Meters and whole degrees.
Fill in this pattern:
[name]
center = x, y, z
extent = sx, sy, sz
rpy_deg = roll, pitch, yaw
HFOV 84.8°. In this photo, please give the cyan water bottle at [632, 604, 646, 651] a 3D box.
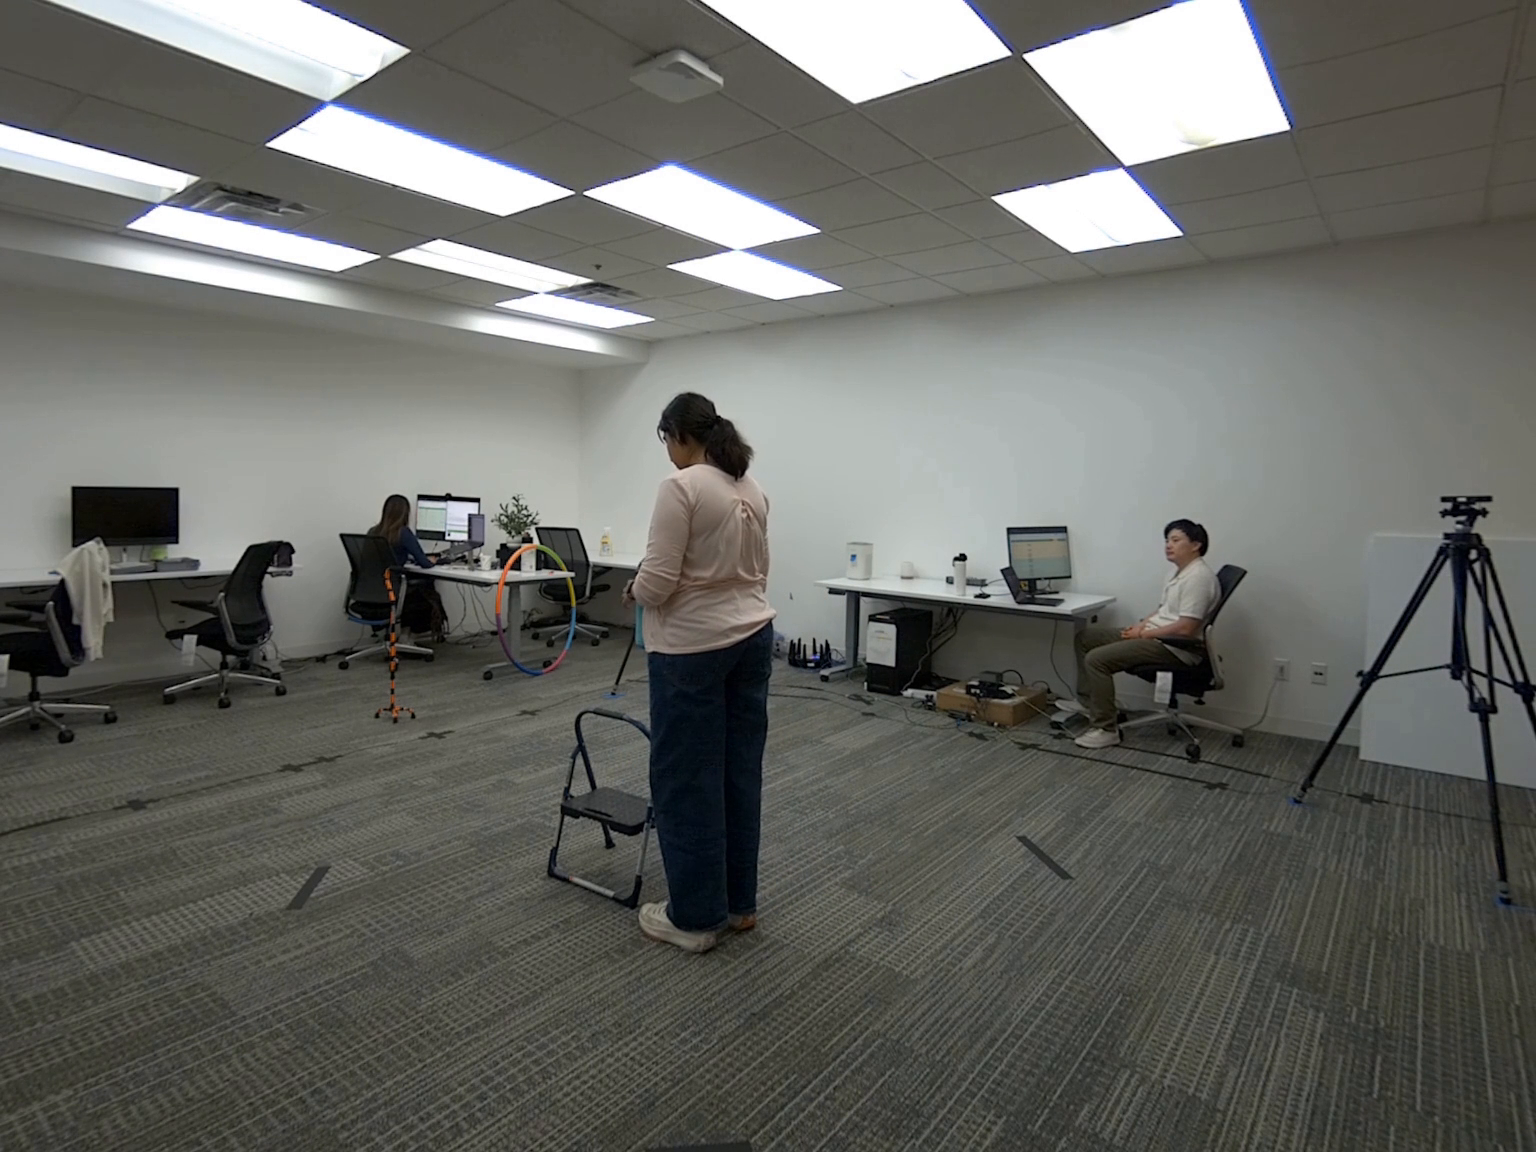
[cyan water bottle]
center = -0.403, 0.086, 2.861
extent = 0.092, 0.283, 0.092
rpy_deg = -2, -1, -2
